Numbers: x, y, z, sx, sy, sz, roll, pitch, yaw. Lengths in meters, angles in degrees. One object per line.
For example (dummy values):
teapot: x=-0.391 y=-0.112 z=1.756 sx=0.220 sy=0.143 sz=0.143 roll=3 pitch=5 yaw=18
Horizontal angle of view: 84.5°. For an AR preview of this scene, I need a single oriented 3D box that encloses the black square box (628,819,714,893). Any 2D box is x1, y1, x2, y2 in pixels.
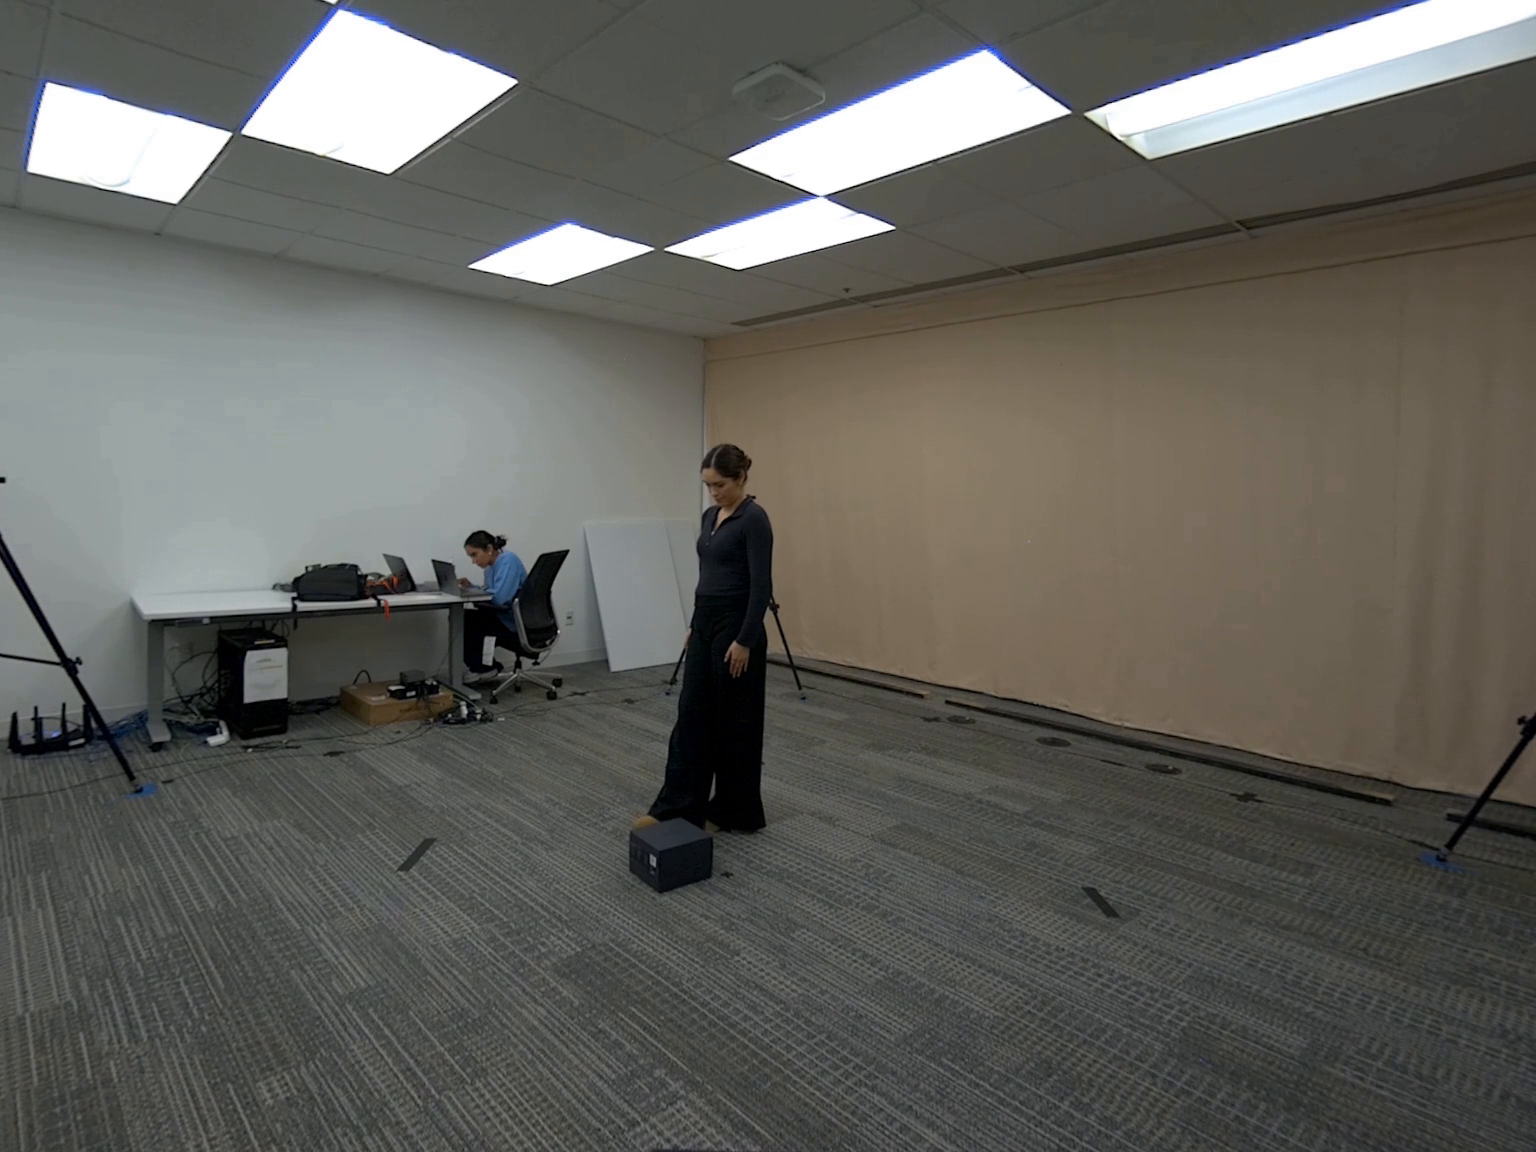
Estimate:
black square box: x=-0.367 y=1.020 z=3.083 sx=0.223 sy=0.155 sz=0.222 roll=-3 pitch=6 yaw=-38
